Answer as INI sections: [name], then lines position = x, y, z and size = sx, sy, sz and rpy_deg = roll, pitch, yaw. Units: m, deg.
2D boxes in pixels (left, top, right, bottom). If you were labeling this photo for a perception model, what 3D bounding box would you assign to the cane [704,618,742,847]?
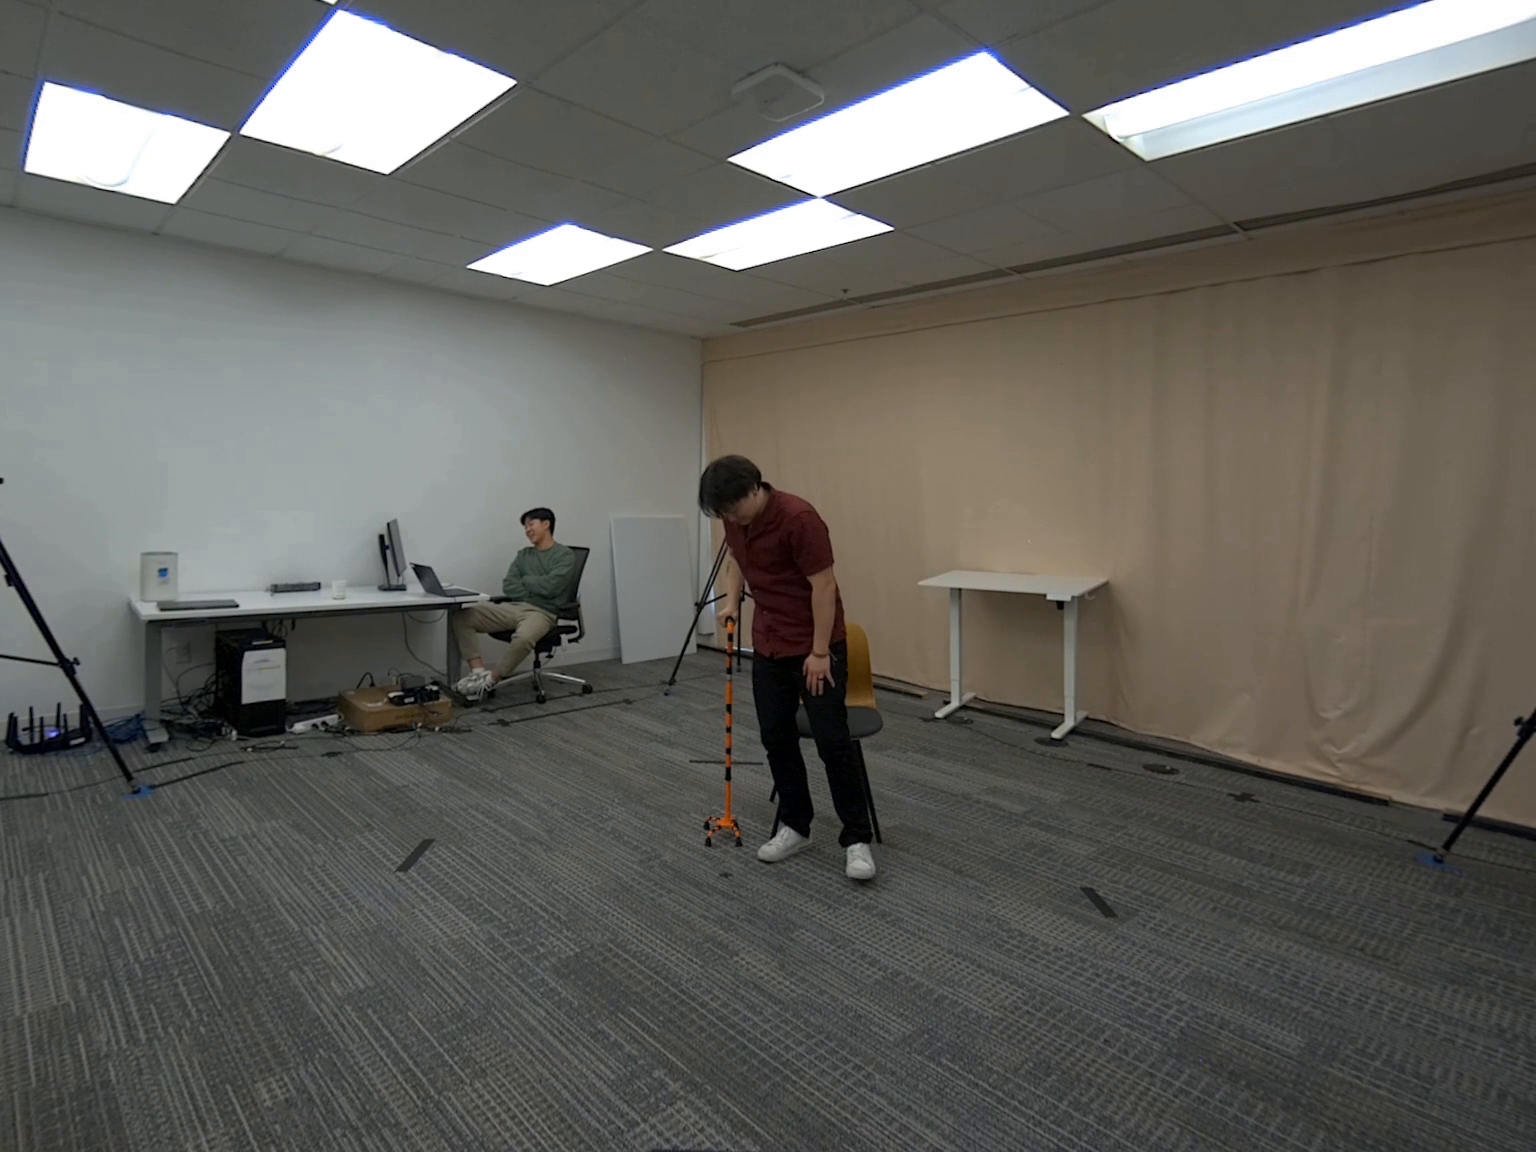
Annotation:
[cane]
position = -0.182, 0.621, 3.439
size = 0.151, 0.906, 0.207
rpy_deg = 0, 3, -5
